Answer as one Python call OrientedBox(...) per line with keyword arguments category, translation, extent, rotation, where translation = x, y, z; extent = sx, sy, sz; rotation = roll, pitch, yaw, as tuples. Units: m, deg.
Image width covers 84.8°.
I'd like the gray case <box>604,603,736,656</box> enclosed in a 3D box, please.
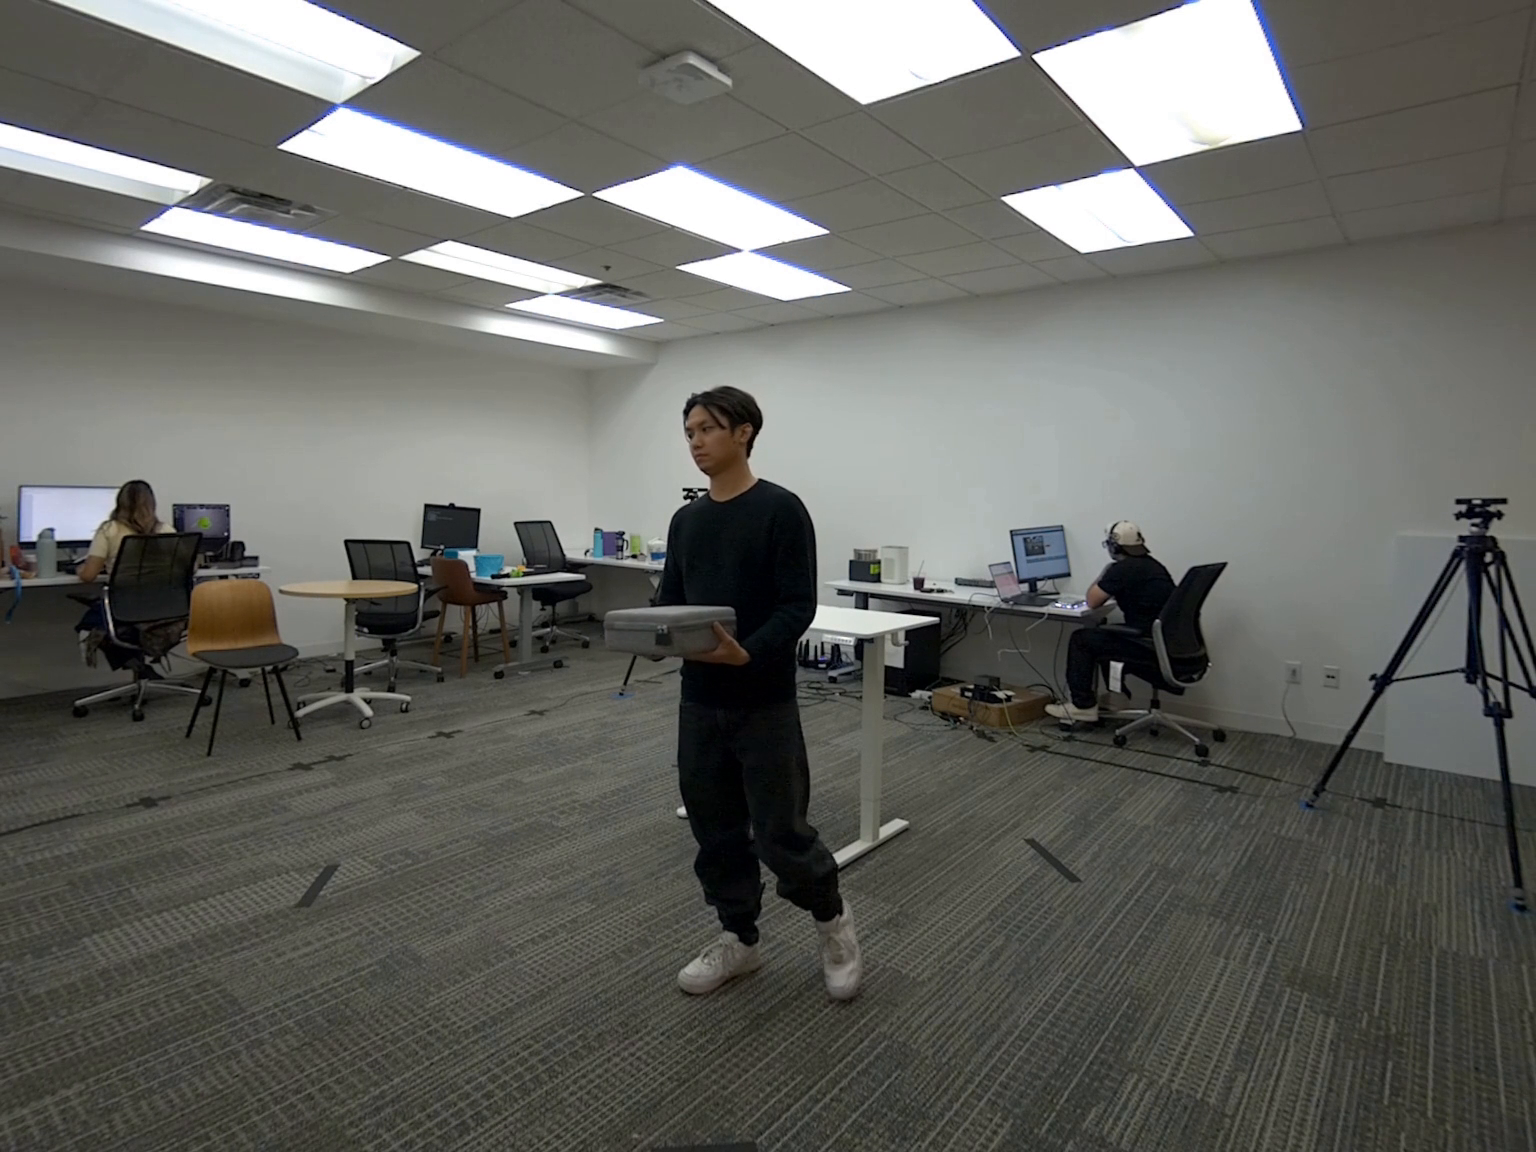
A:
OrientedBox(category="gray case", translation=(-0.231, 0.128, 2.148), extent=(0.268, 0.104, 0.250), rotation=(-2, 2, 34))
